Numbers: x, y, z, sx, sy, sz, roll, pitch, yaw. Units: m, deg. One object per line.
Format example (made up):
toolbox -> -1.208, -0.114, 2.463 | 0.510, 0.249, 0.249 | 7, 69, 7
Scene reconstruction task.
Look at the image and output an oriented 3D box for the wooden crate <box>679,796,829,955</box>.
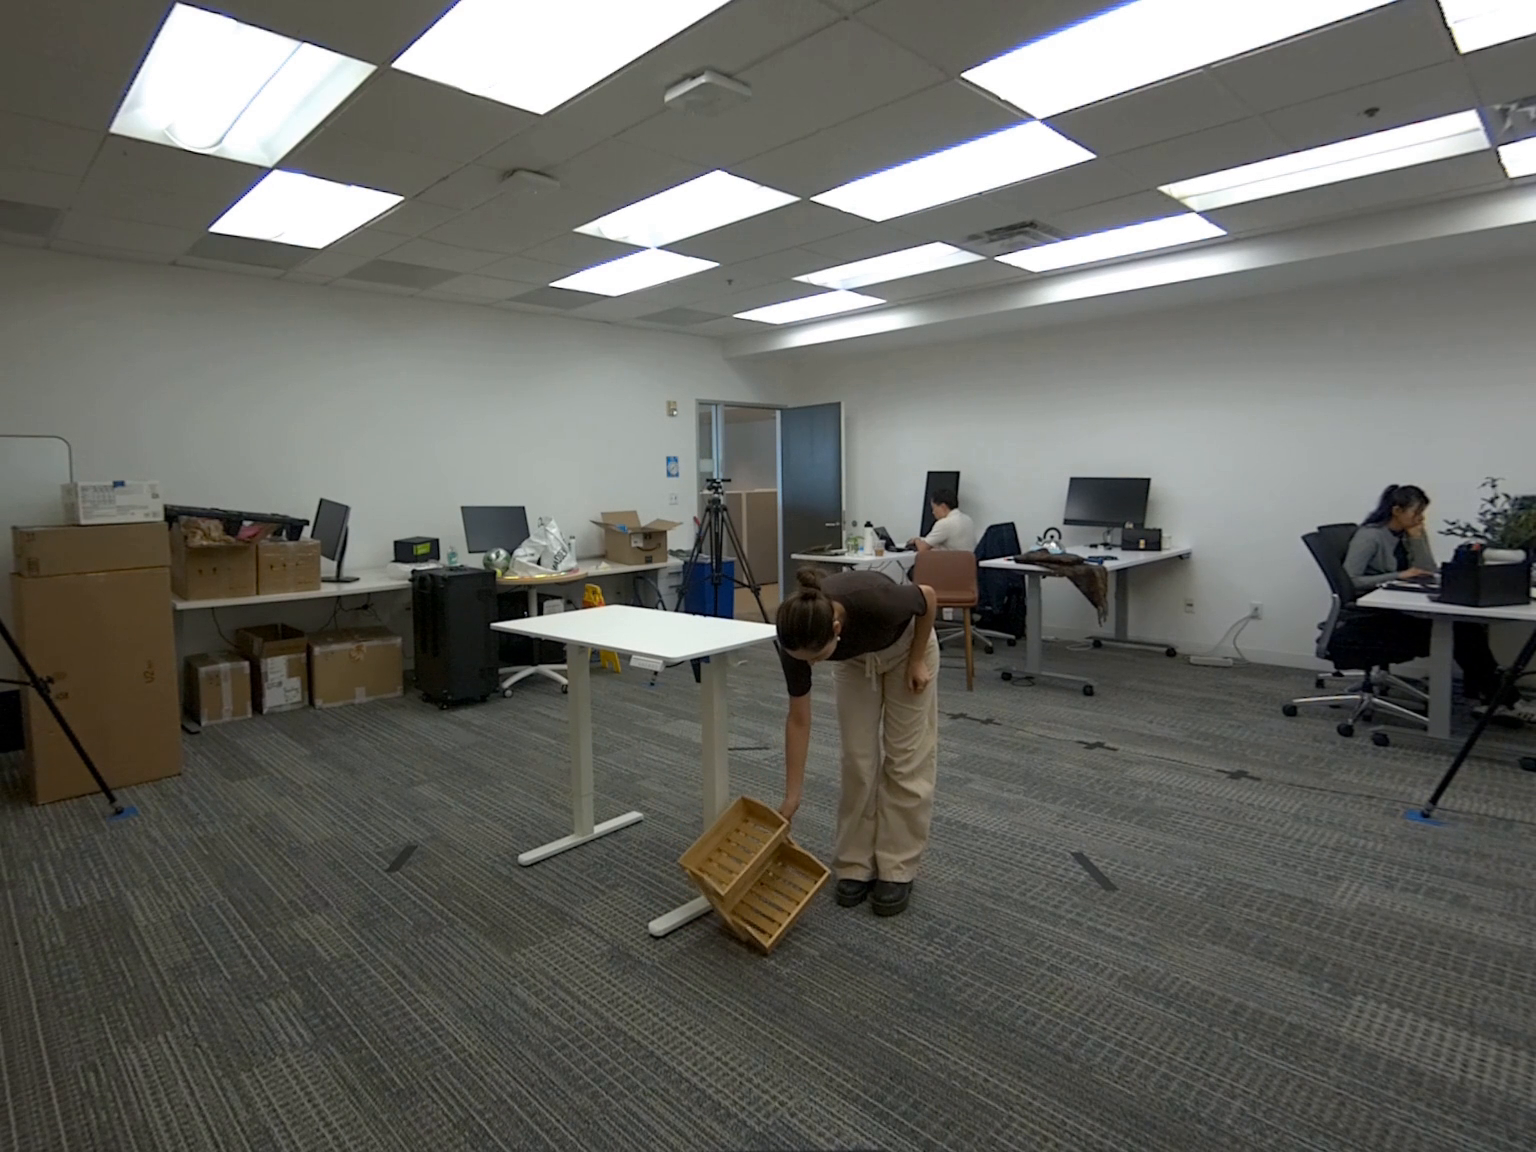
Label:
wooden crate -> -0.033, 0.910, 2.631 | 0.323, 0.267, 0.311 | -40, 25, -29
